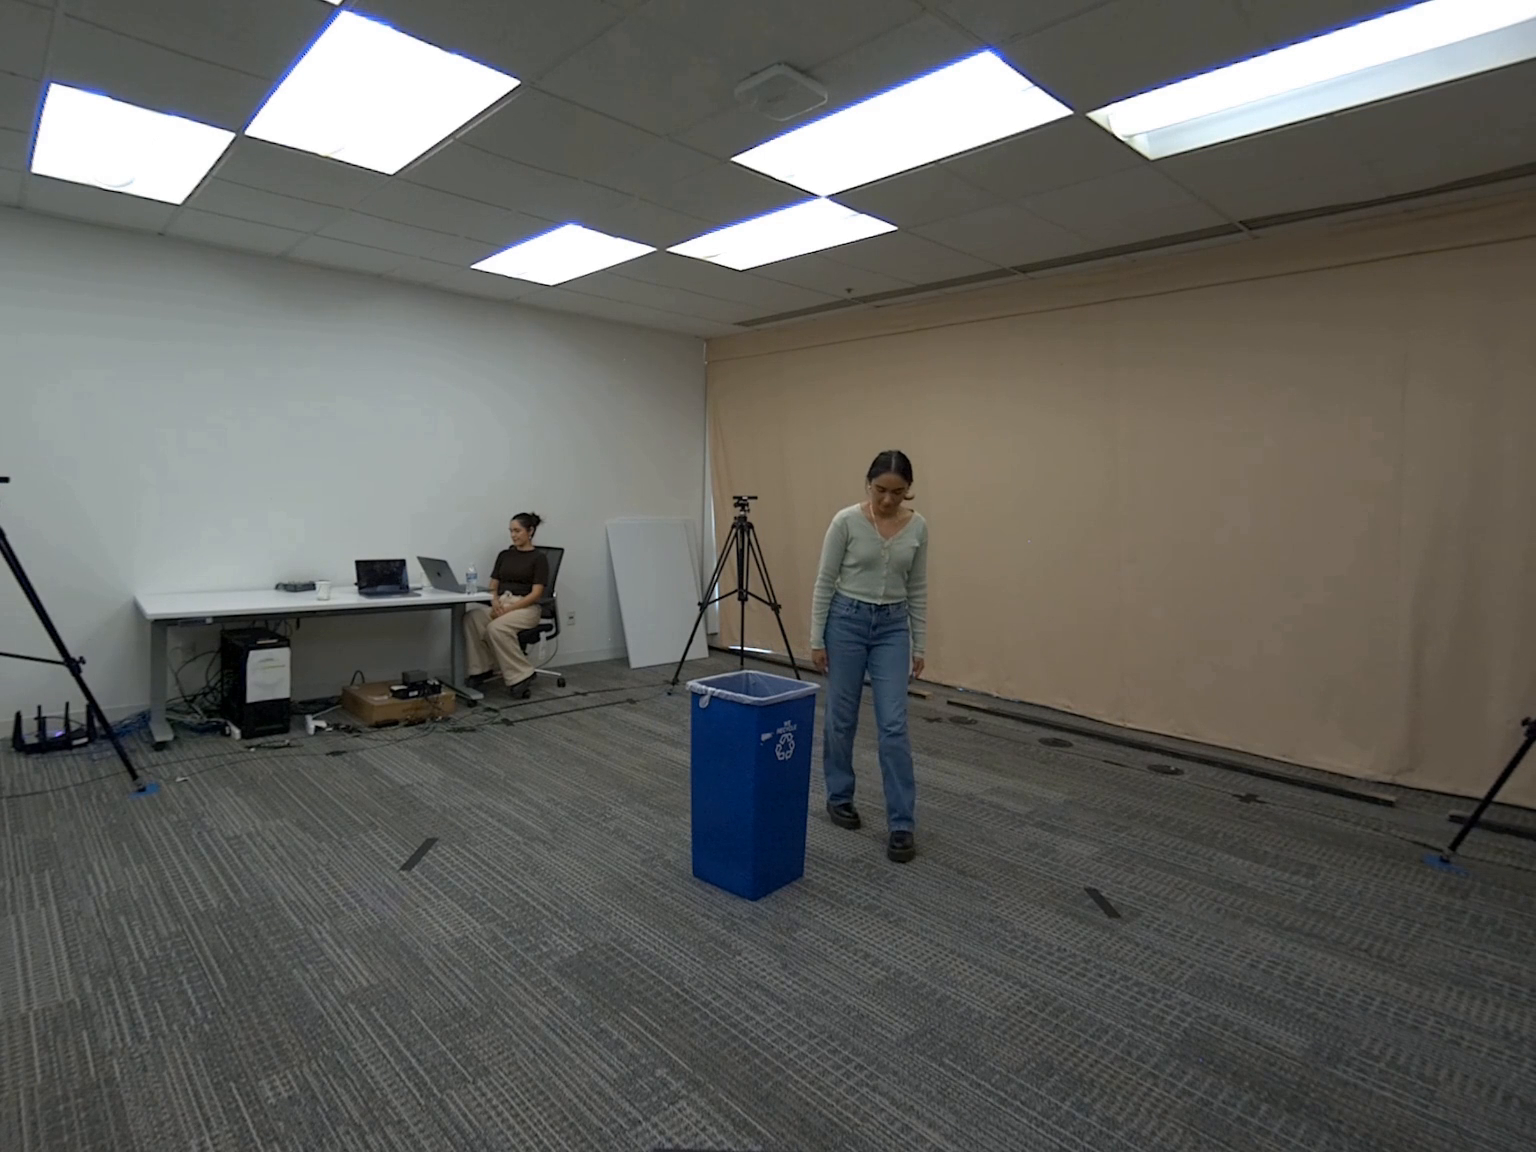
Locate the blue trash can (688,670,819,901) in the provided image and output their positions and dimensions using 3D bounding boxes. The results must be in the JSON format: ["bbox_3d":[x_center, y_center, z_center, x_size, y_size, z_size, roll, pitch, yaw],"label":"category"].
[{"bbox_3d":[-0.068,0.746,3.091,0.387,0.712,0.366,5,5,41],"label":"blue trash can"}]
